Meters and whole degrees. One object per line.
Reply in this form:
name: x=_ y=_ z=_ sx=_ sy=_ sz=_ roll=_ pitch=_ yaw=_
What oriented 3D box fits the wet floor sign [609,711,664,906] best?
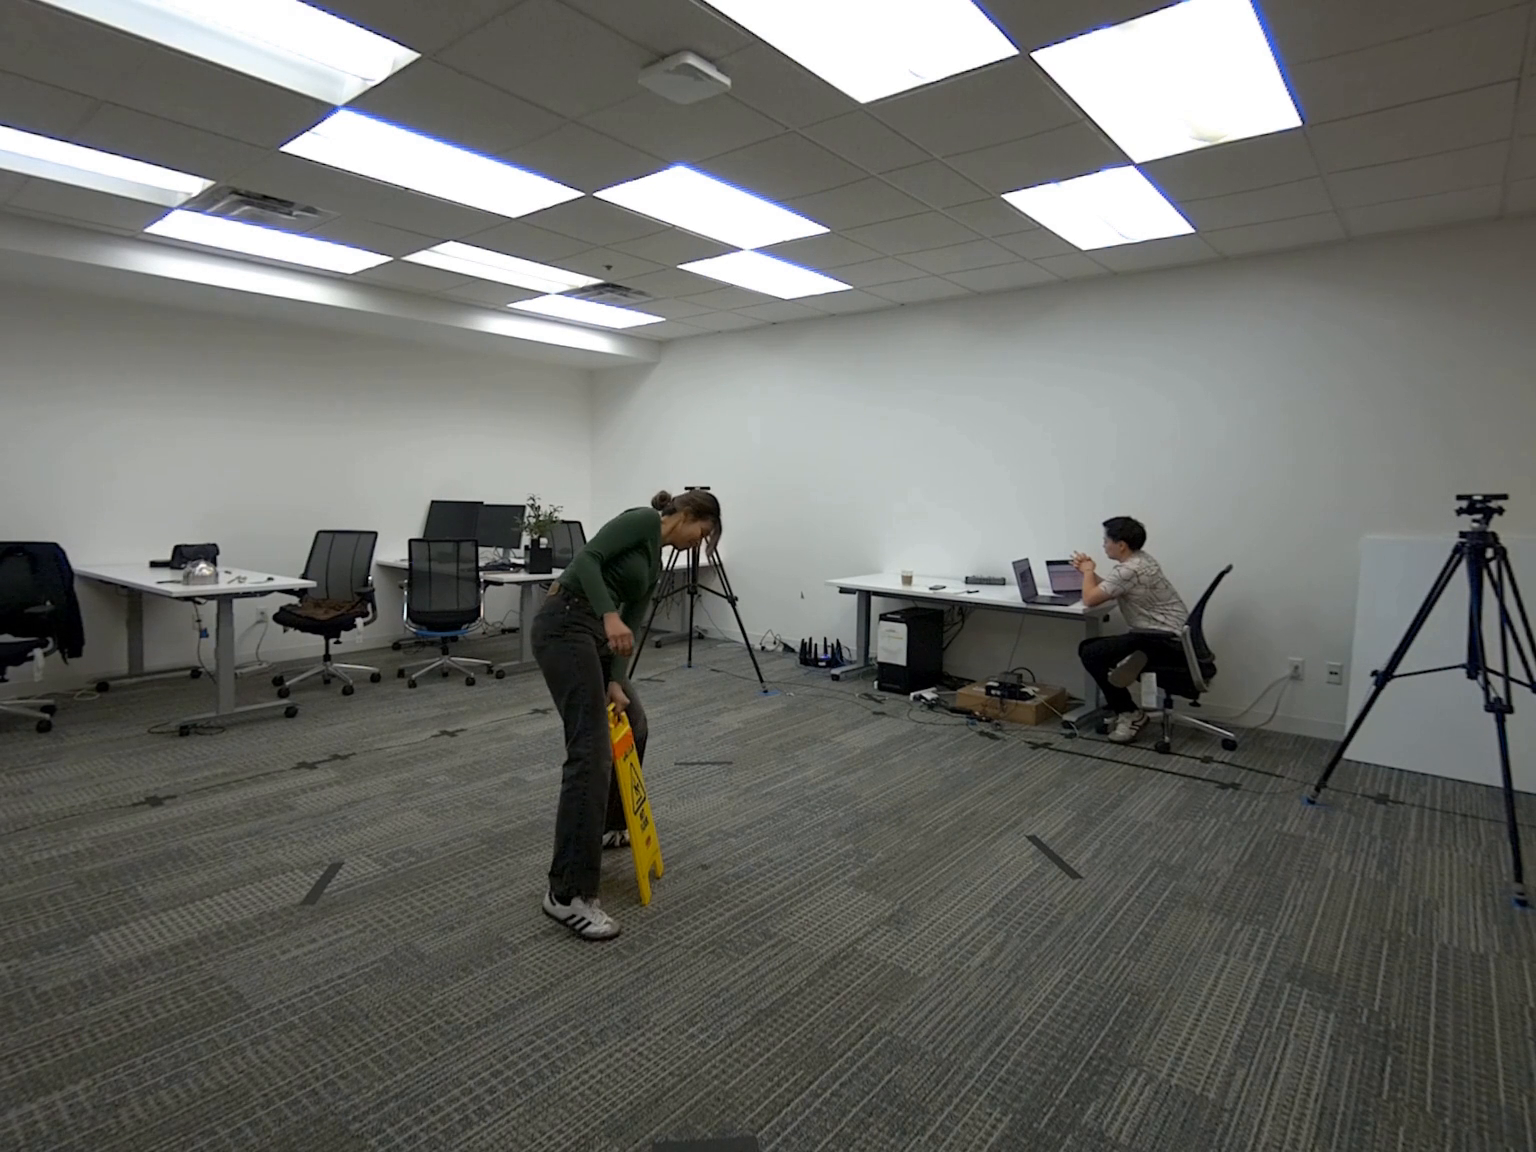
wet floor sign: x=-0.538 y=0.755 z=2.952 sx=0.292 sy=0.644 sz=0.281 roll=1 pitch=3 yaw=6
